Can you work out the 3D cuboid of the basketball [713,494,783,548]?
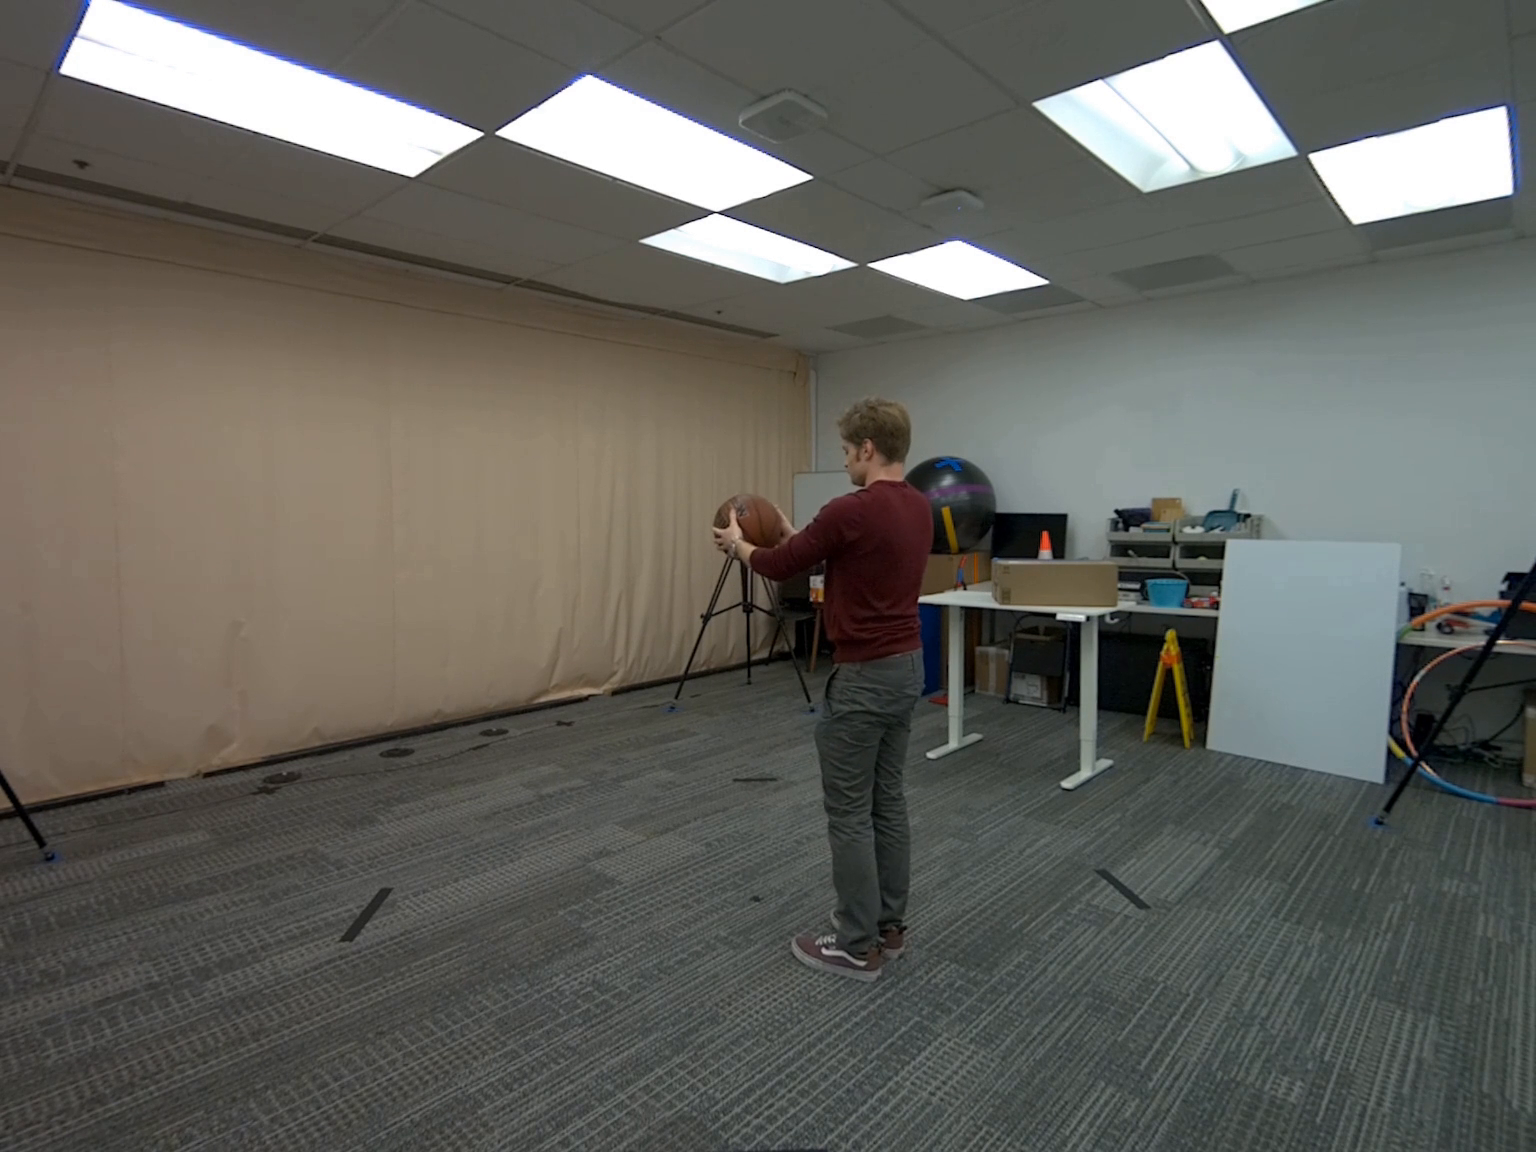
[{"bbox_3d":[-0.071,-0.175,2.964,0.236,0.235,0.237,0,4,-2],"label":"basketball"}]
